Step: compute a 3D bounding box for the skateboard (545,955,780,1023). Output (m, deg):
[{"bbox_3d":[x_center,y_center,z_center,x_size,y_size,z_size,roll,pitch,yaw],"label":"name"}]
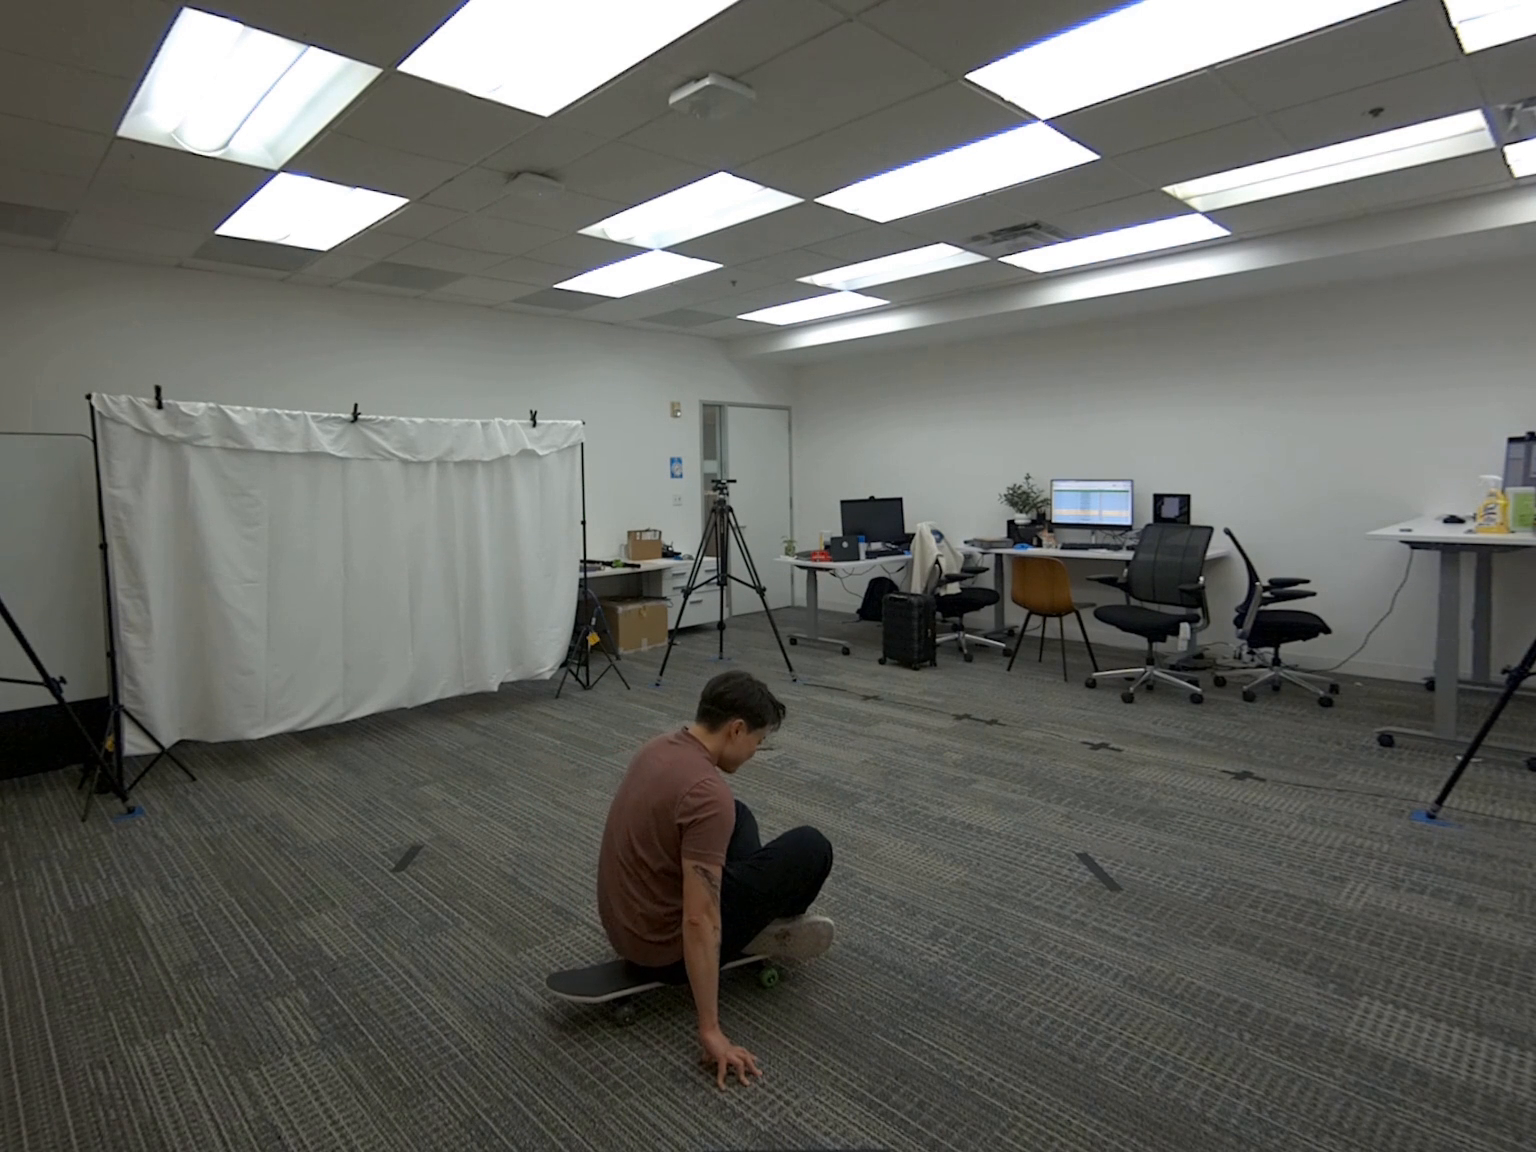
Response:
[{"bbox_3d":[-0.221,1.080,2.368,0.768,0.111,0.197,-5,-2,-27],"label":"skateboard"}]
